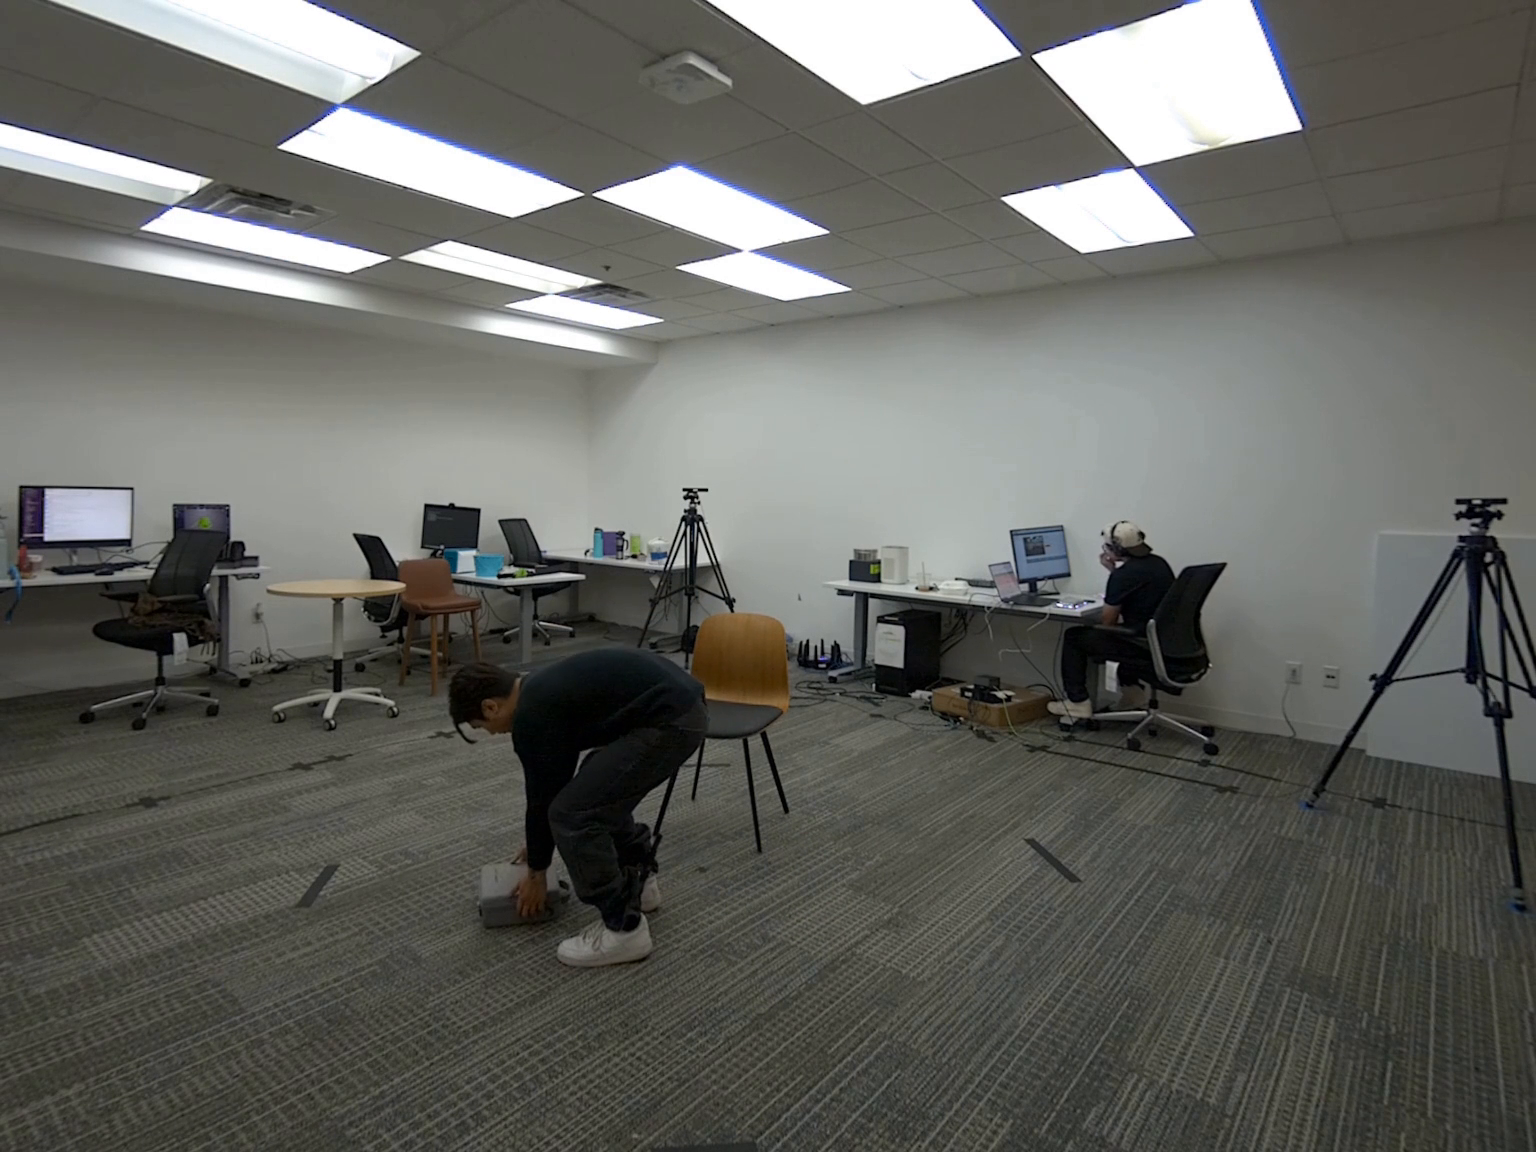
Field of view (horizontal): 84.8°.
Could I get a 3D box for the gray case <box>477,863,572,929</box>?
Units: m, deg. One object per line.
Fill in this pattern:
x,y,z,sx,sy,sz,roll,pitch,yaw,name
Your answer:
-0.829,1.034,2.804,0.256,0.104,0.262,-1,6,-18,gray case
